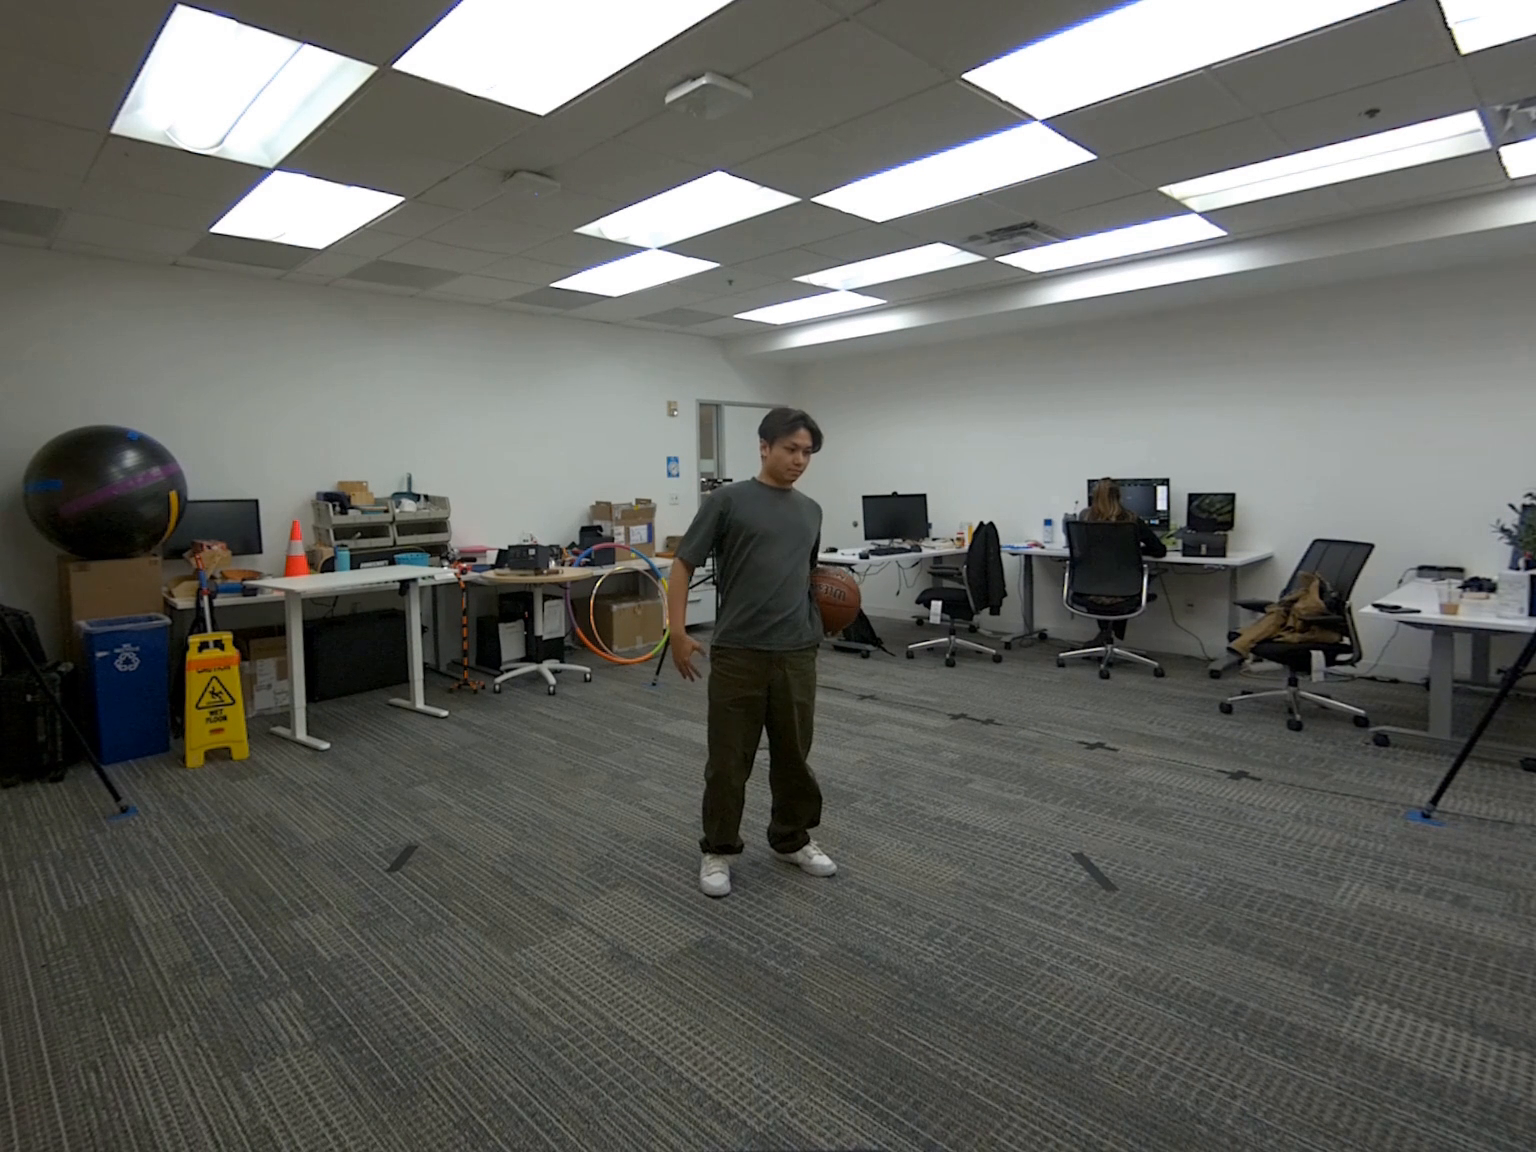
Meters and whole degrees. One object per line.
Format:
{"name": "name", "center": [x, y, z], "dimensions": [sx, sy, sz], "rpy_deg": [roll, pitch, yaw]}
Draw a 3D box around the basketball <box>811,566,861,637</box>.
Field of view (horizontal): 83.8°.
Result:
{"name": "basketball", "center": [0.223, 0.084, 3.069], "dimensions": [0.236, 0.235, 0.237], "rpy_deg": [-1, 5, -2]}
